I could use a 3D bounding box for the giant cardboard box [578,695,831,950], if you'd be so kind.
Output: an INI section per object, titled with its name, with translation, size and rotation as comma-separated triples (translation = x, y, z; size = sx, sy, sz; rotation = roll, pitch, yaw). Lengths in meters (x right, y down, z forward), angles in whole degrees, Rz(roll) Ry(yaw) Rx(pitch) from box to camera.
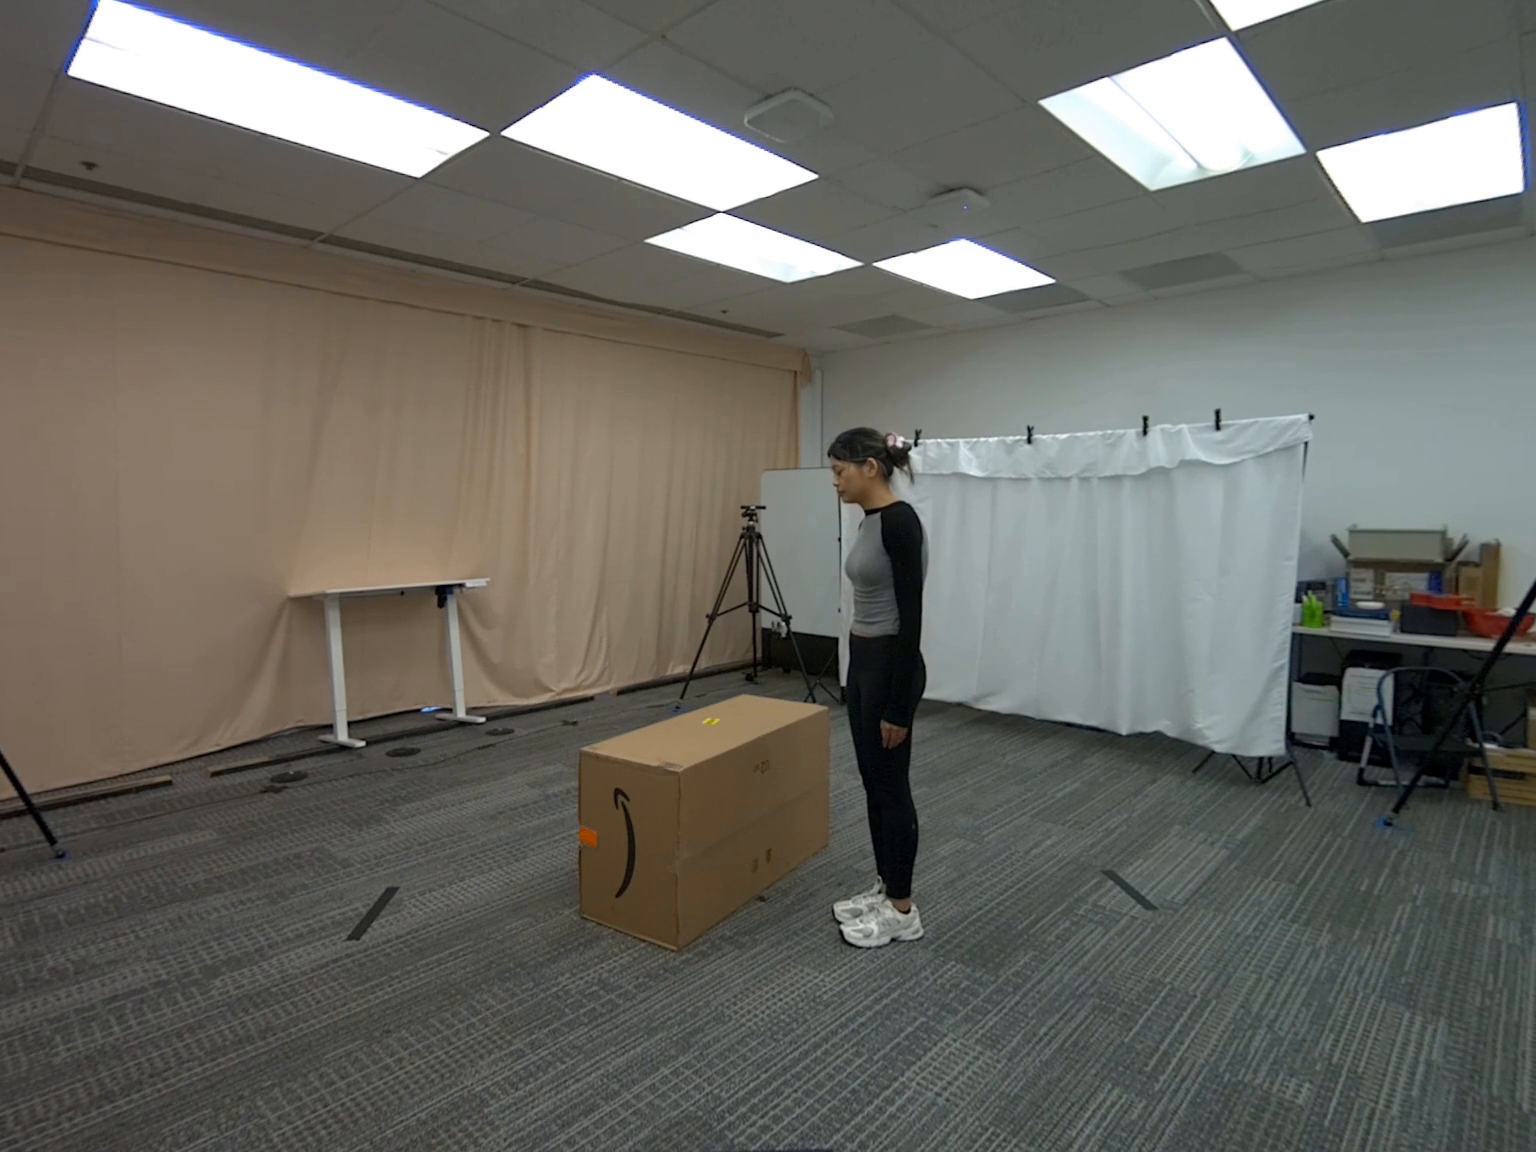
[giant cardboard box]
translation = -0.196, 0.845, 3.148
size = 0.439, 0.576, 0.997
rotation = 3, 5, 33
